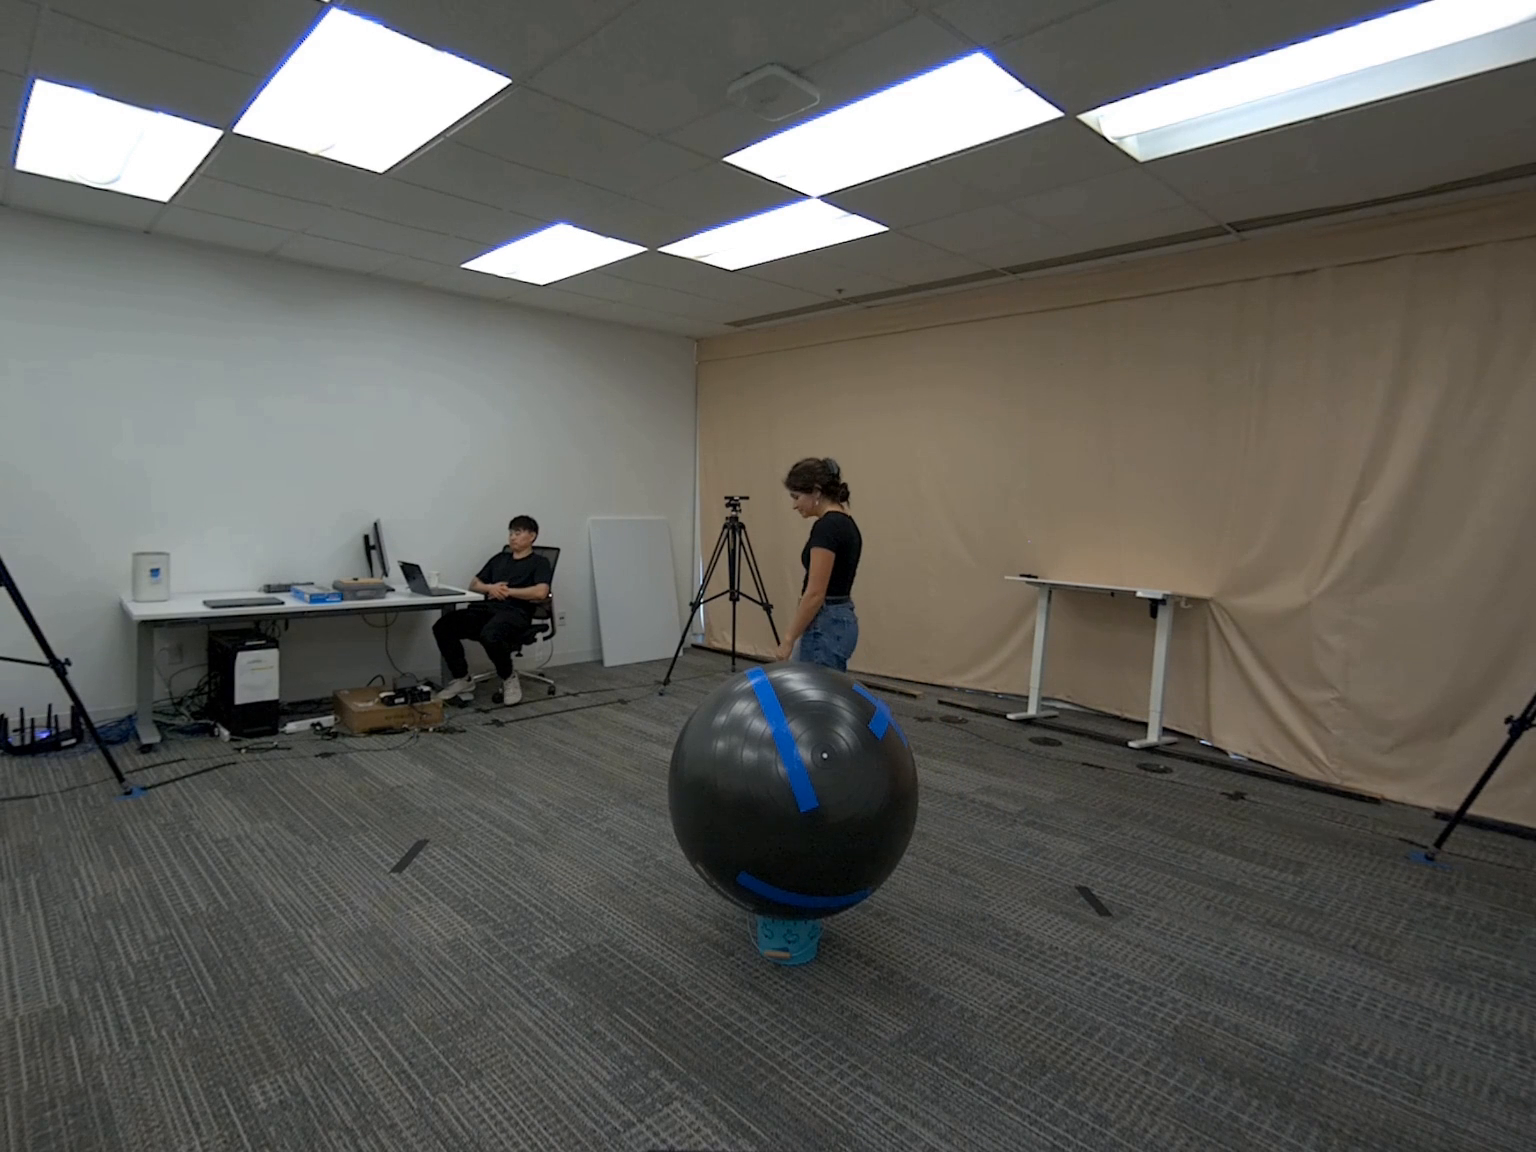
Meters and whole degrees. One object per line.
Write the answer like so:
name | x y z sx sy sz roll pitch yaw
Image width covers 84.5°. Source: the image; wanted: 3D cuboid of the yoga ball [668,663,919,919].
yoga ball | 0.074 0.660 2.572 0.757 0.756 0.761 1 4 -1
